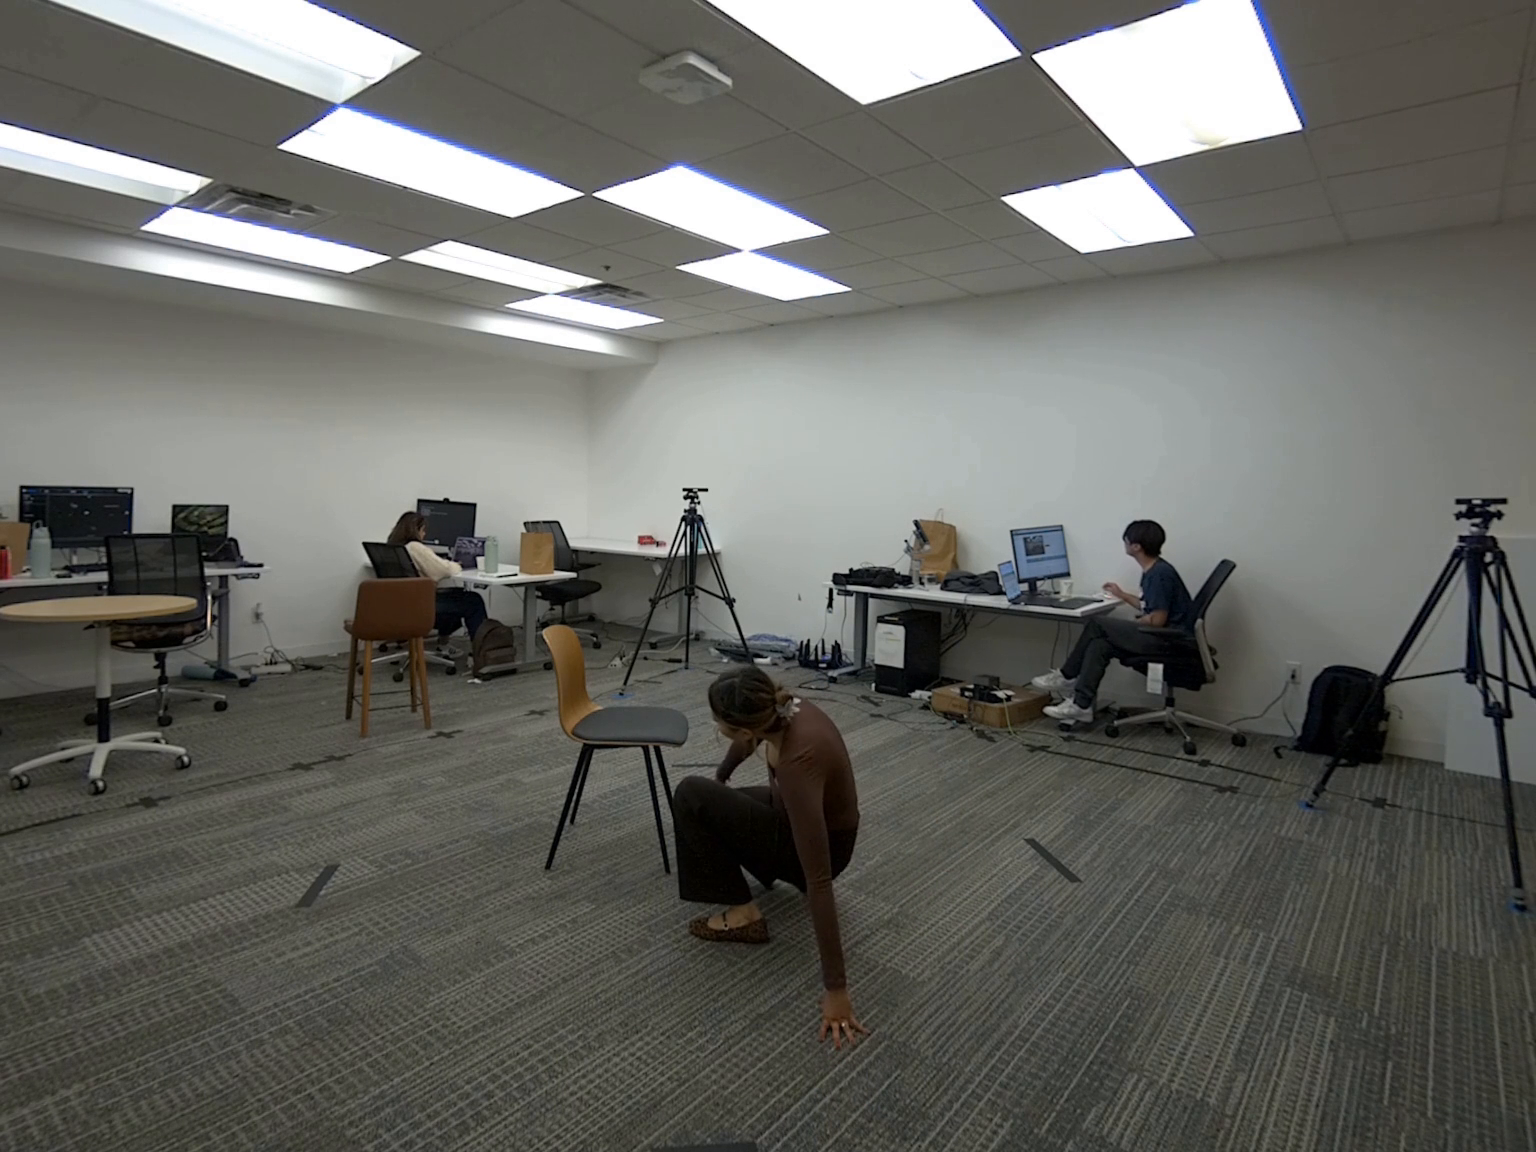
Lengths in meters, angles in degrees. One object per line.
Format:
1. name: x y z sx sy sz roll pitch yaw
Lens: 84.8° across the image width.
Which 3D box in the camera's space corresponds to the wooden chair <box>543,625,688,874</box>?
1. wooden chair: -0.583 0.621 3.269 0.524 0.875 0.479 -3 3 0
